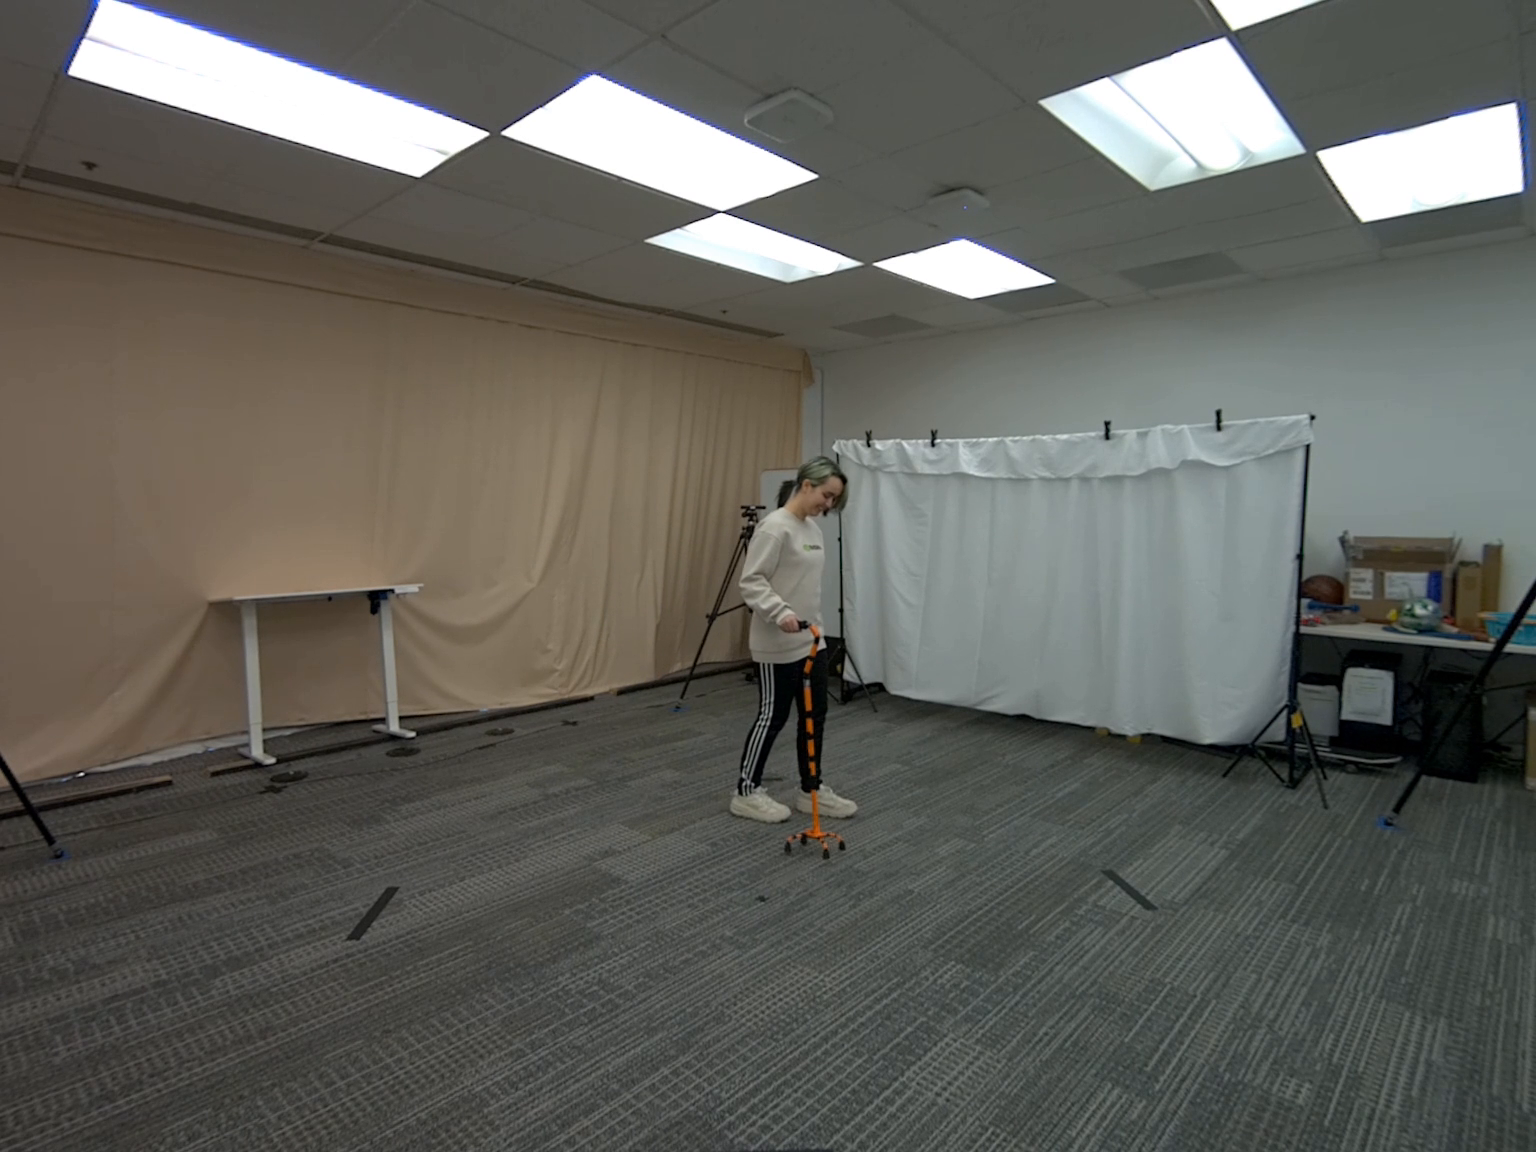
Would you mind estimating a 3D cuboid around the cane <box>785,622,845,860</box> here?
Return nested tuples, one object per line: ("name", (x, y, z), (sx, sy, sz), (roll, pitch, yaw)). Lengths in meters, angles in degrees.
("cane", (0.155, 0.636, 3.367), (0.212, 0.908, 0.147), (-4, -1, 32))
